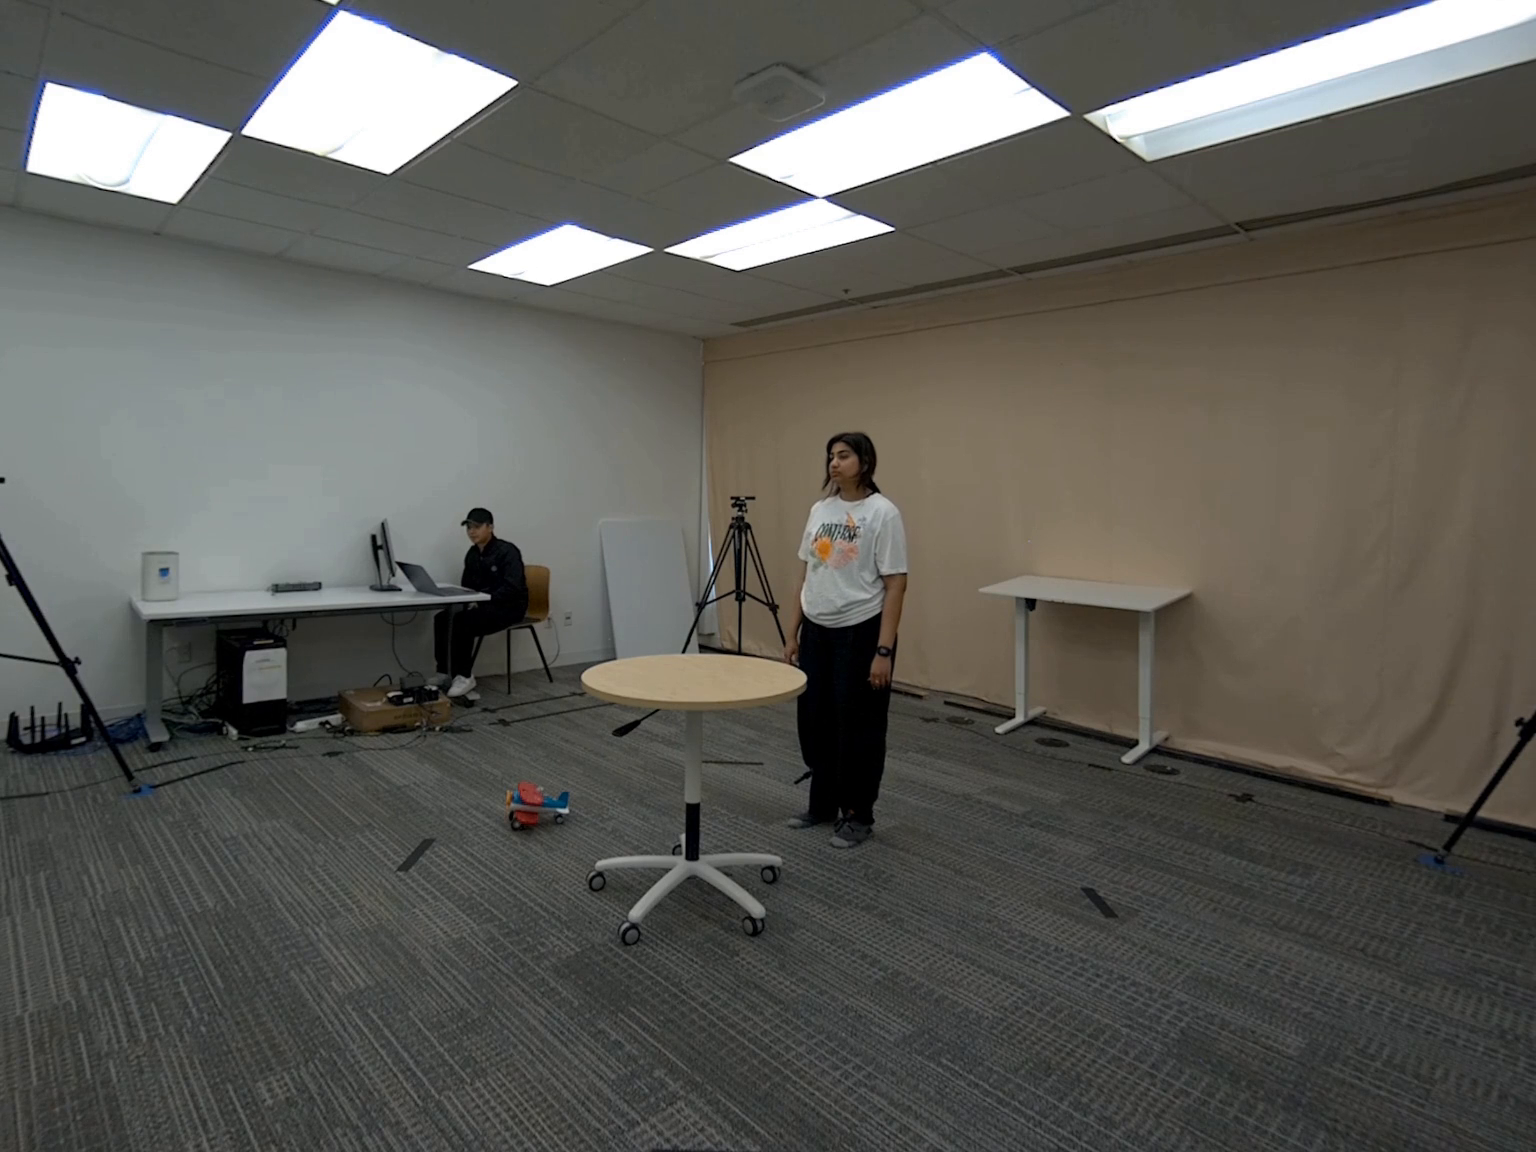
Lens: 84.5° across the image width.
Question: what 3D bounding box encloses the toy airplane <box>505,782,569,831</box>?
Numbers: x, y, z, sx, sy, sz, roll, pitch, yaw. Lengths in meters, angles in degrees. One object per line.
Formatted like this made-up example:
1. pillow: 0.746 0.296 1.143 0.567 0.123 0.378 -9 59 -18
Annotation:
1. toy airplane: -0.992 0.970 3.558 0.257 0.156 0.253 5 7 41
